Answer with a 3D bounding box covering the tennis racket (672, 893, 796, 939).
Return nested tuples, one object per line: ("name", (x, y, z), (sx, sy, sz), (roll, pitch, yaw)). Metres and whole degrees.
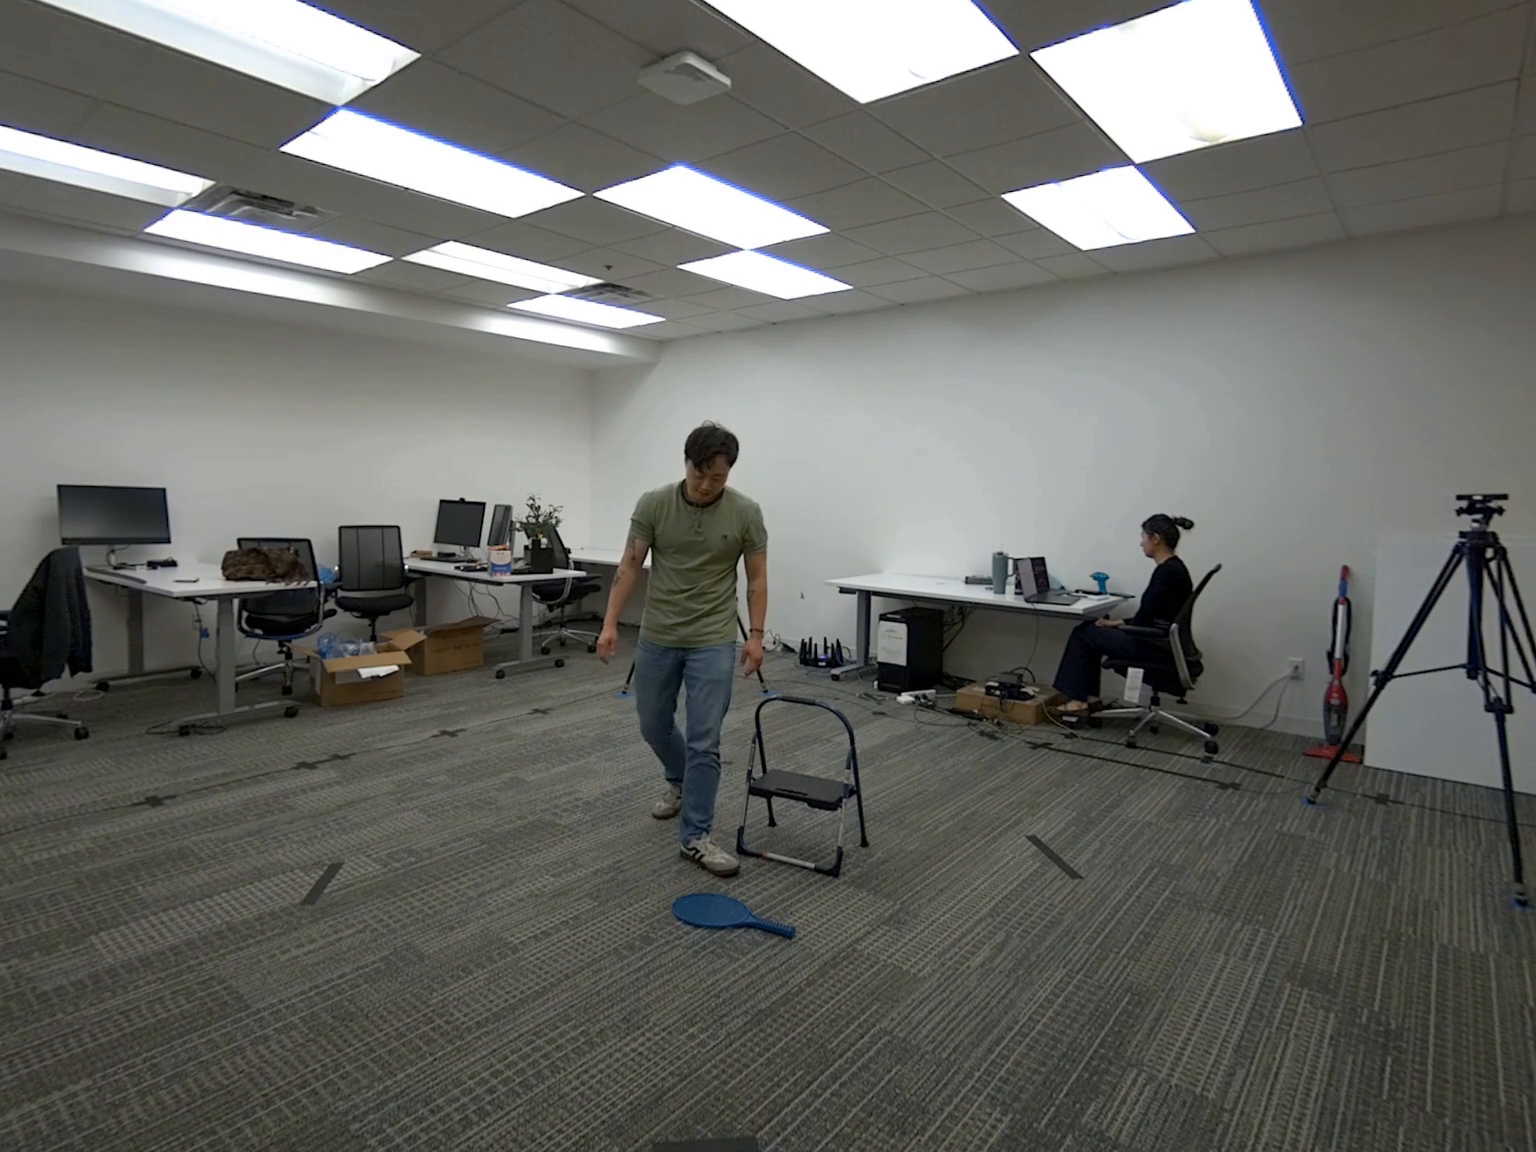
("tennis racket", (-0.124, 1.090, 2.730), (0.445, 0.031, 0.208), (2, 6, 30))
